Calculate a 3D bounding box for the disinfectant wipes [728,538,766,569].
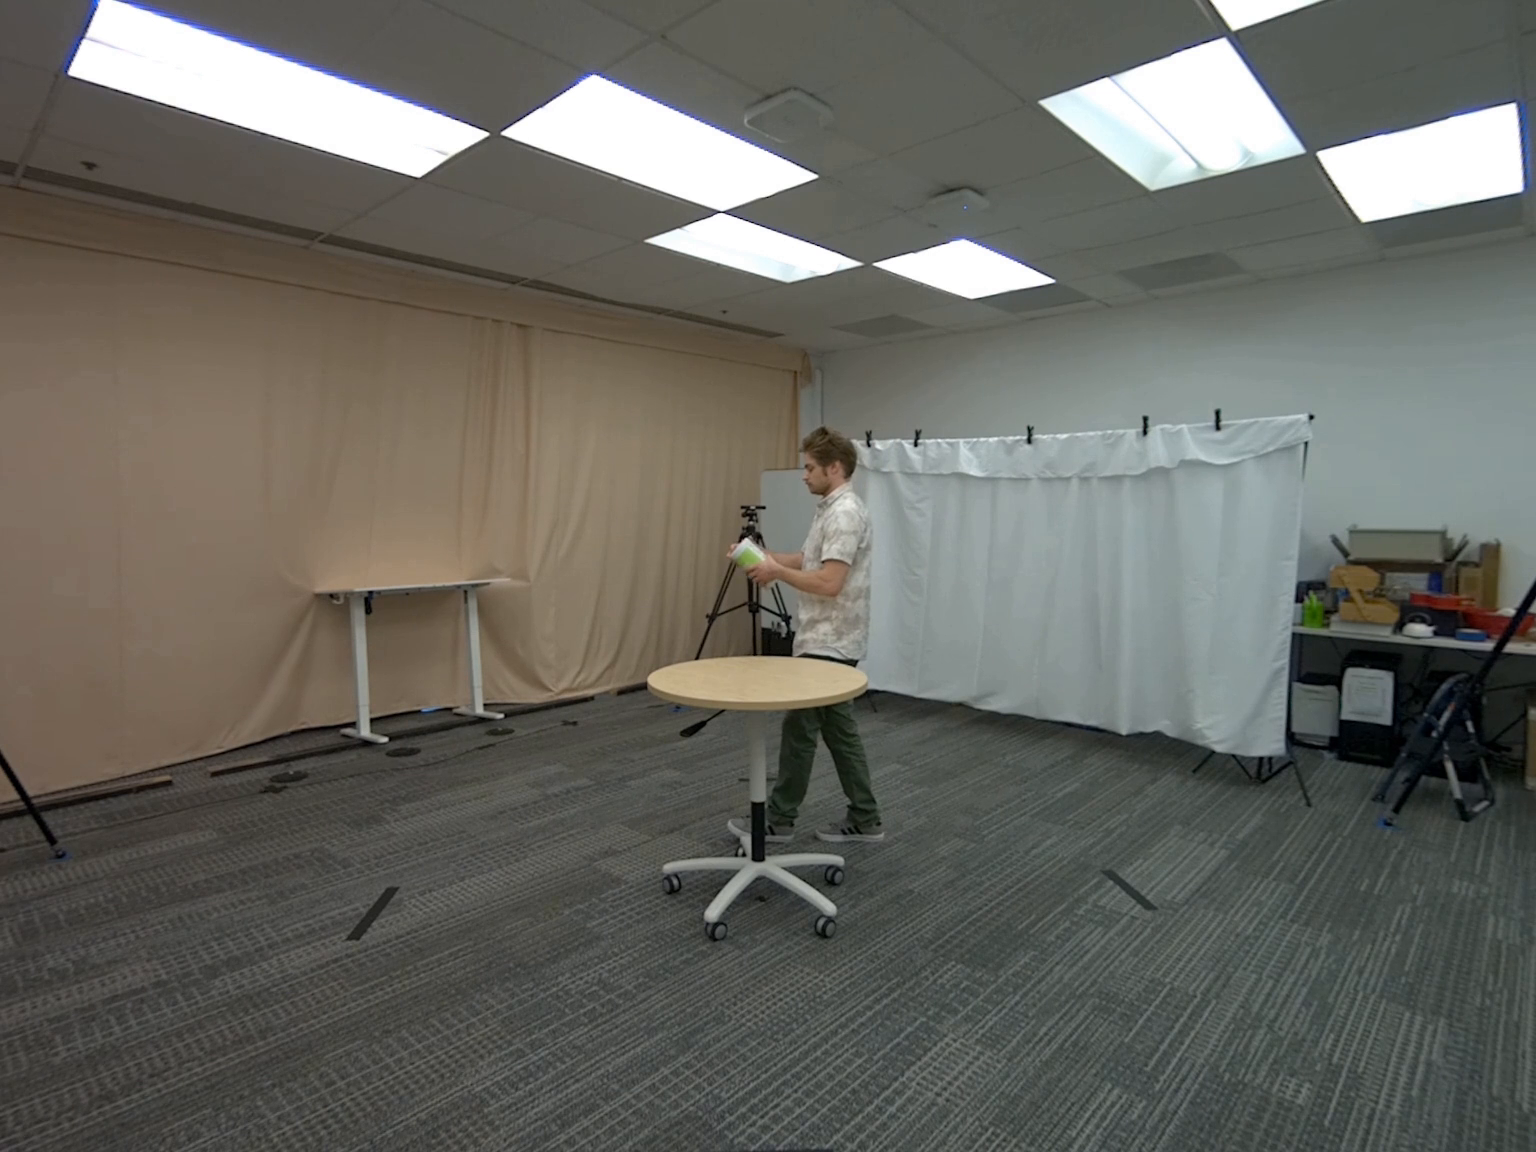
[{"bbox_3d":[-0.046,-0.050,3.498,0.217,0.118,0.118,40,2,-2],"label":"disinfectant wipes"}]
